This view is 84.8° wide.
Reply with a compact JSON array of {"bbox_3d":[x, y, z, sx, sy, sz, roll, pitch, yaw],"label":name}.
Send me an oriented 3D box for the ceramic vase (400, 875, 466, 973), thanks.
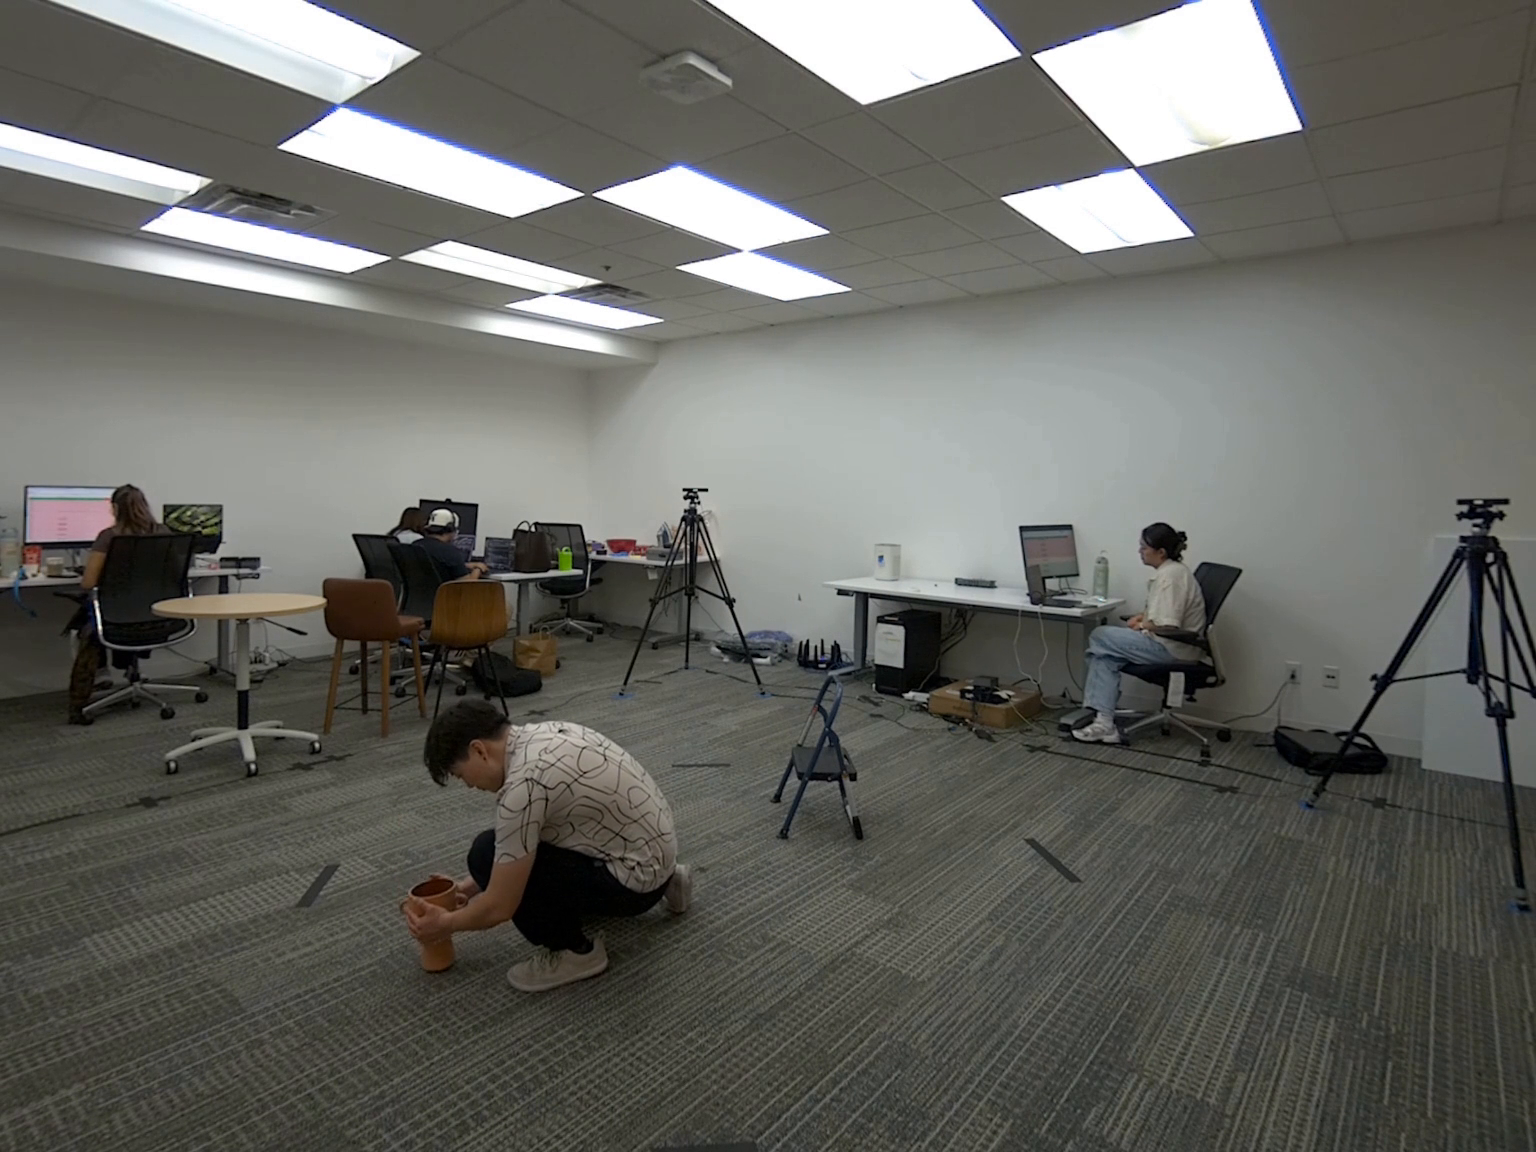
[{"bbox_3d":[-0.970,1.000,2.457,0.163,0.219,0.131,-1,4,37],"label":"ceramic vase"}]
